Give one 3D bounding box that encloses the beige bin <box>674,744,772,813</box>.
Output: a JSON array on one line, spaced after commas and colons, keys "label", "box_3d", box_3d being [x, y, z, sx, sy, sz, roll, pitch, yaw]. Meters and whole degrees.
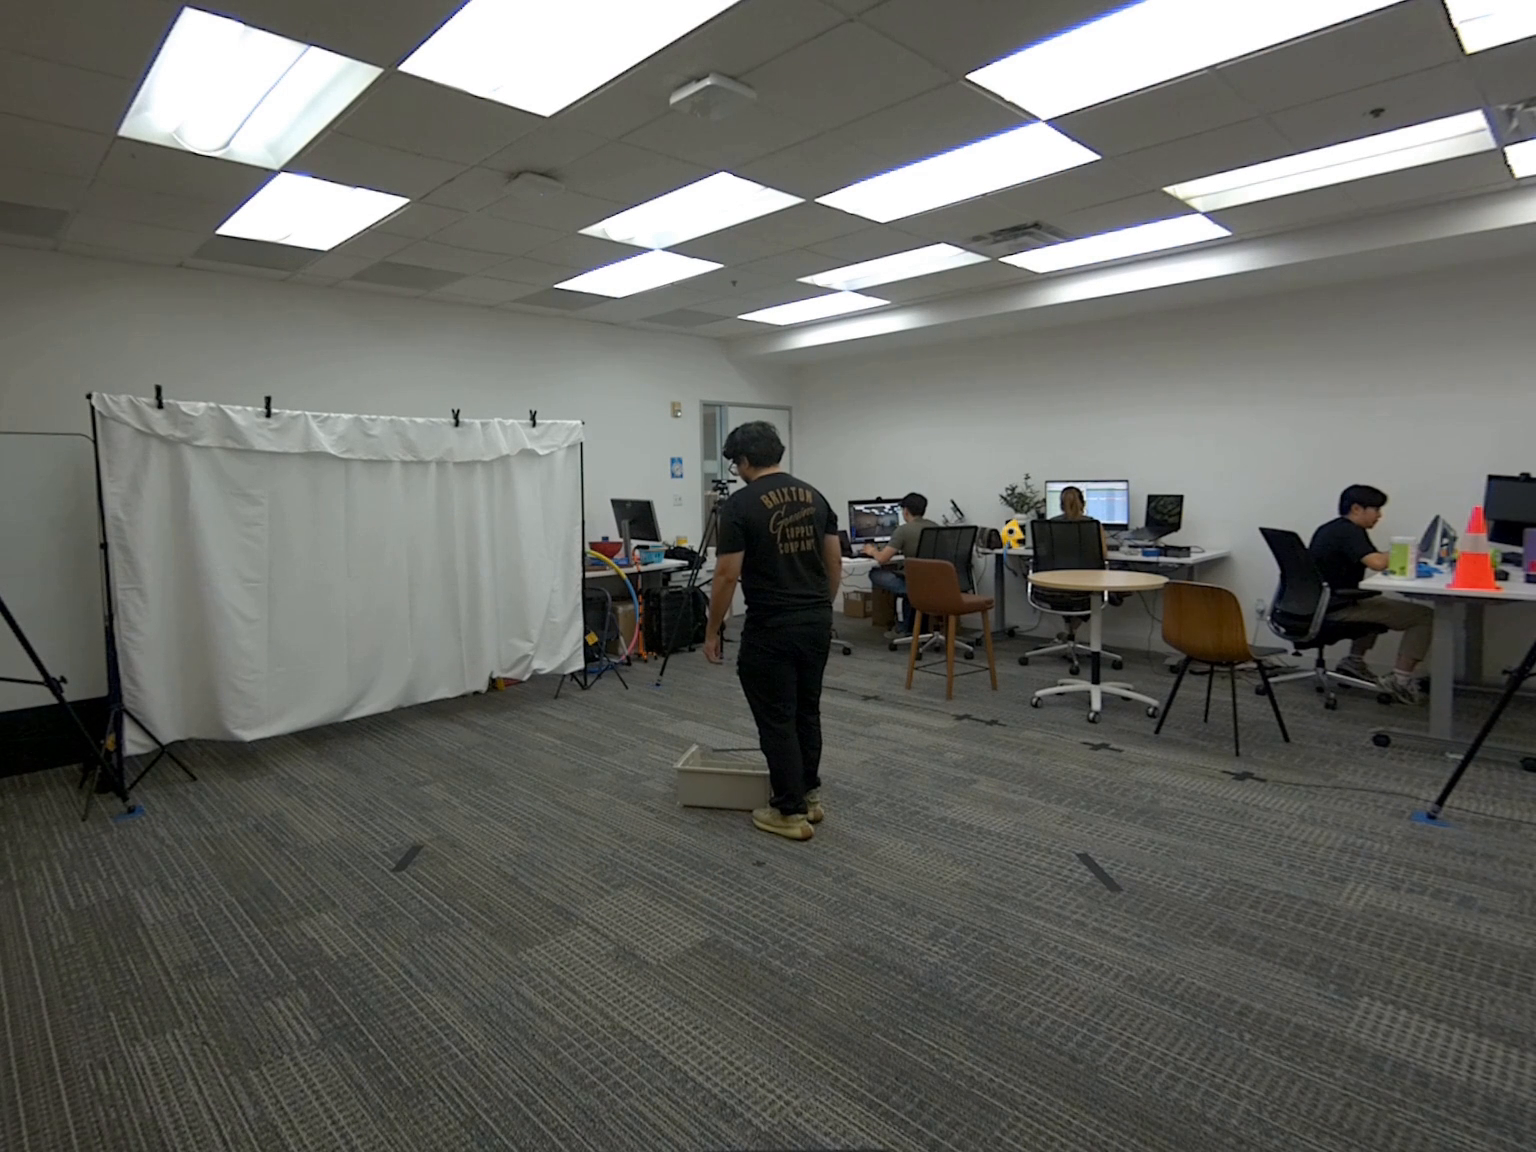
[{"label": "beige bin", "box_3d": [-0.162, 0.889, 3.790, 0.428, 0.188, 0.374, 1, 6, 13]}]
